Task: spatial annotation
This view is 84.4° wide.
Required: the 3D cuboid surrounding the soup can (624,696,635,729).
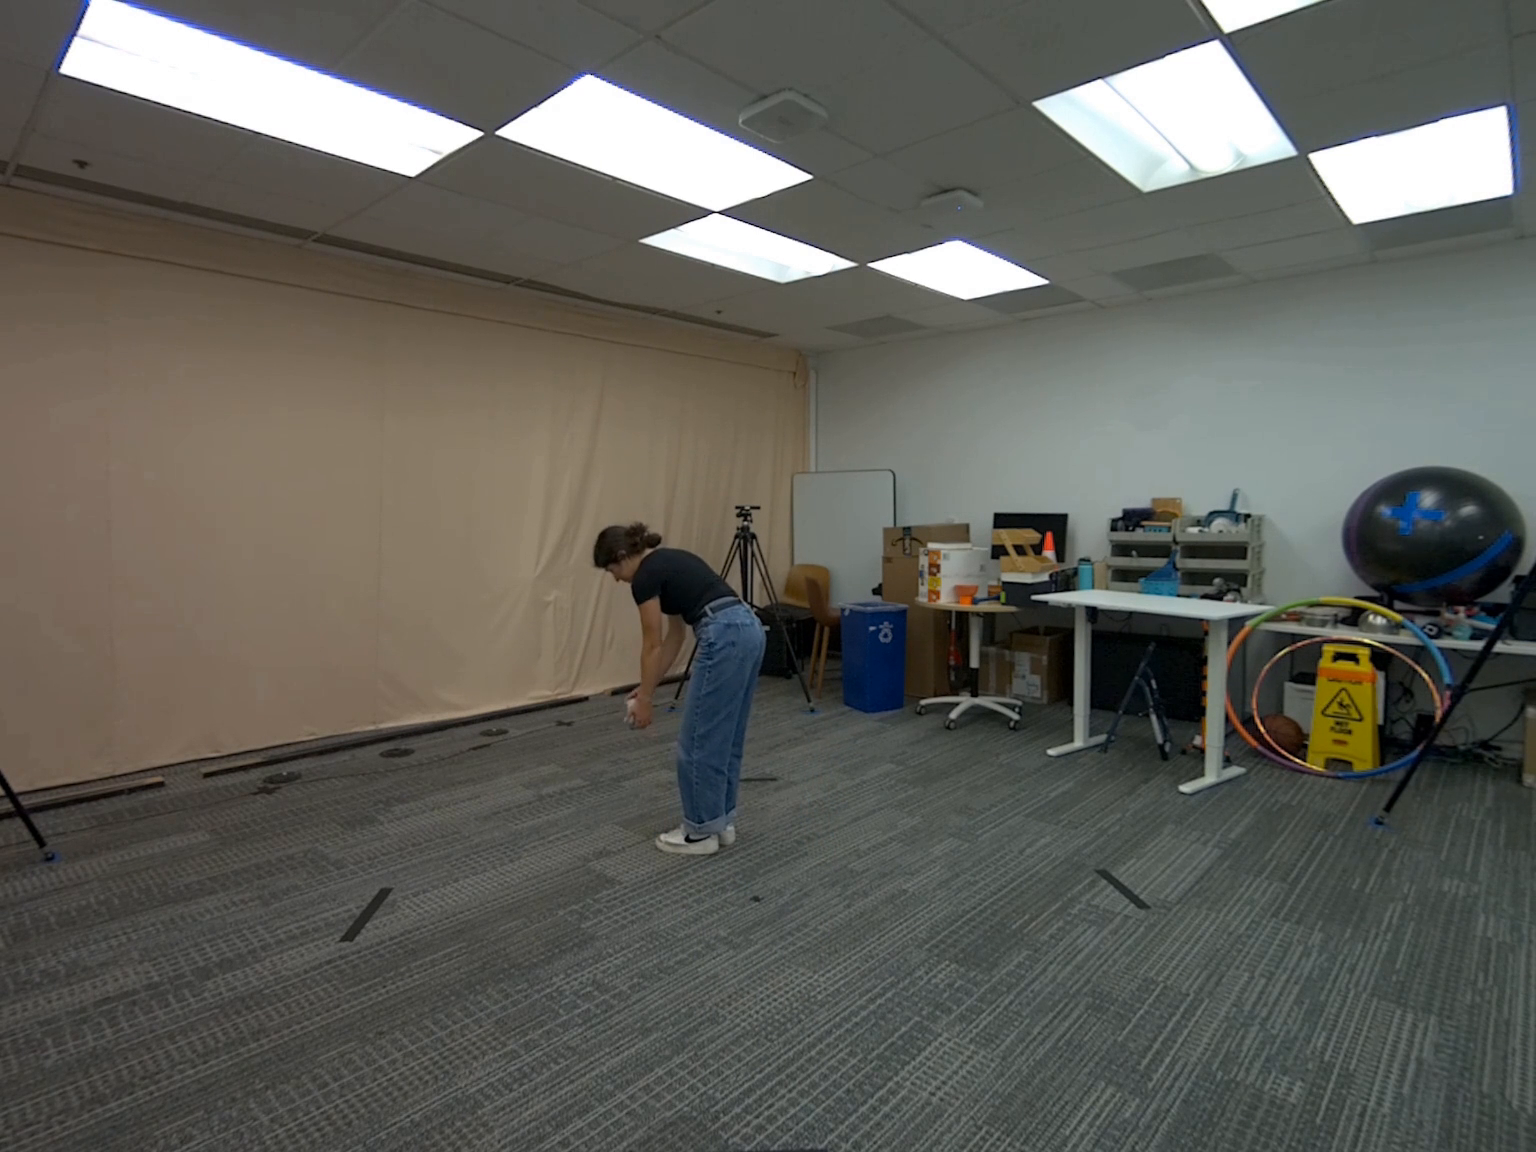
[{"bbox_3d":[-0.557,0.578,3.538,0.067,0.123,0.066,-10,-18,-5],"label":"soup can"}]
